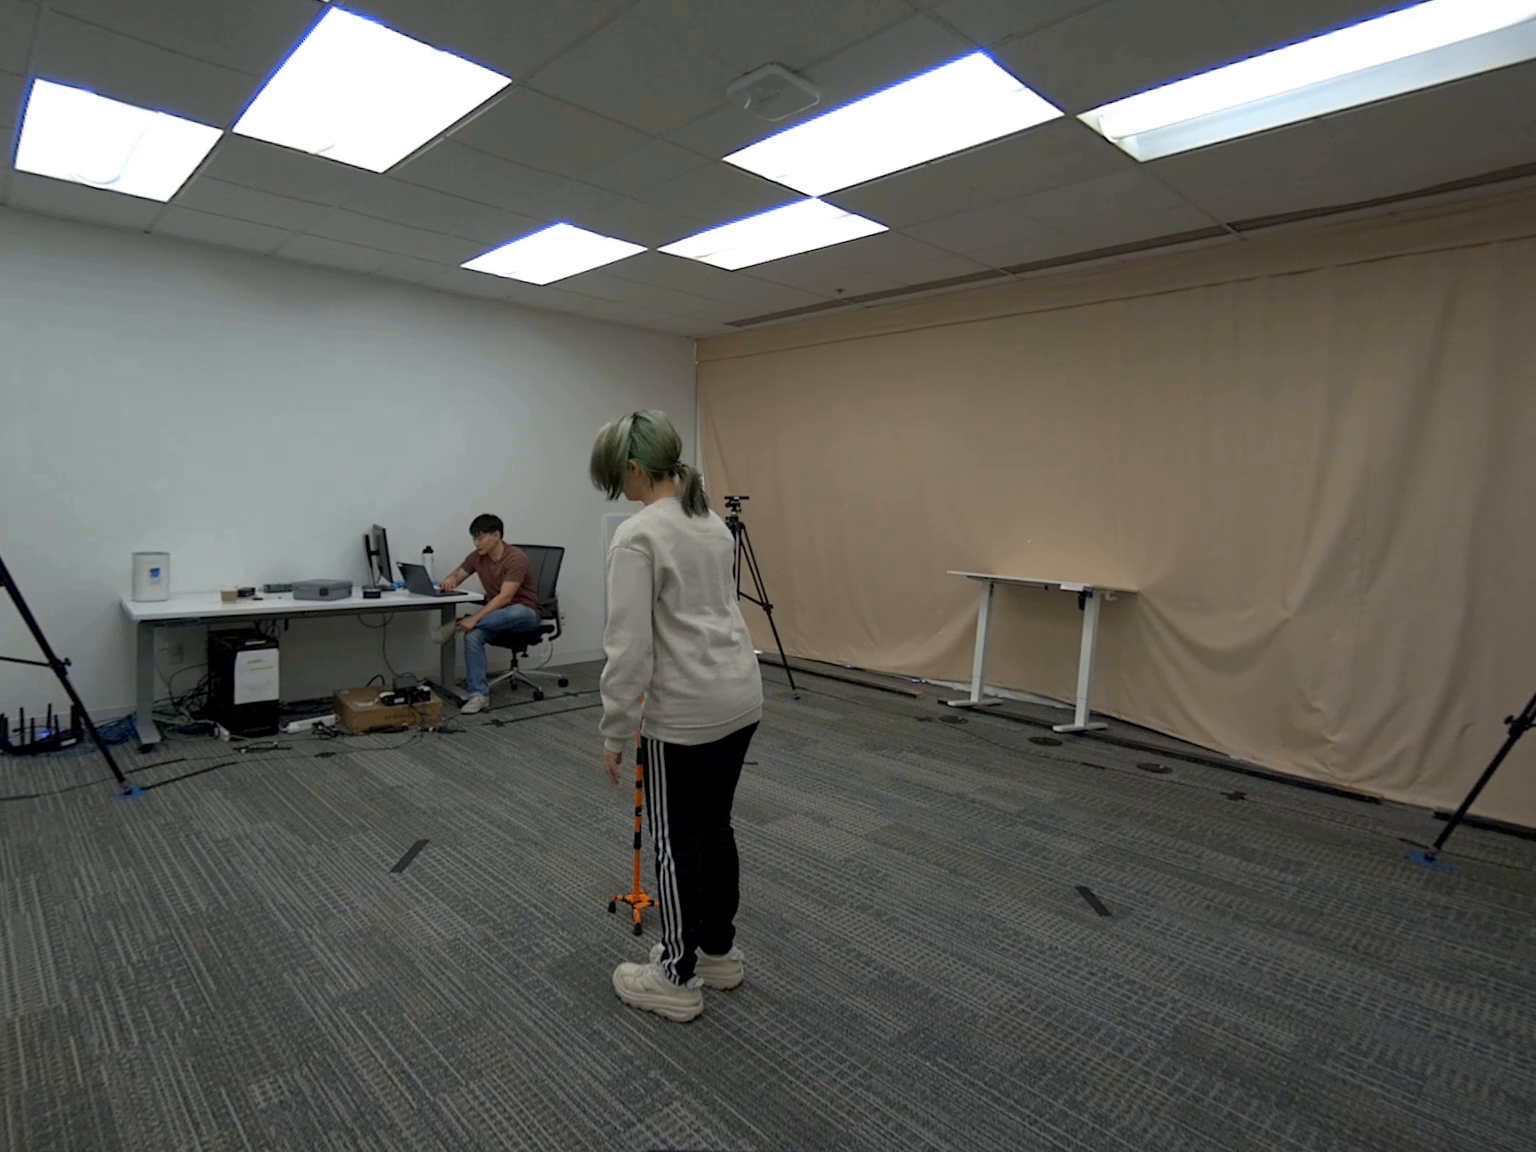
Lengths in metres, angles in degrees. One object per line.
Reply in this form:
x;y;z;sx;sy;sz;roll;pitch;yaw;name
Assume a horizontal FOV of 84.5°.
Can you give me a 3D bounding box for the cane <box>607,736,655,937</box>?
-0.416;0.676;2.757;0.148;0.907;0.211;0;1;-35;cane
